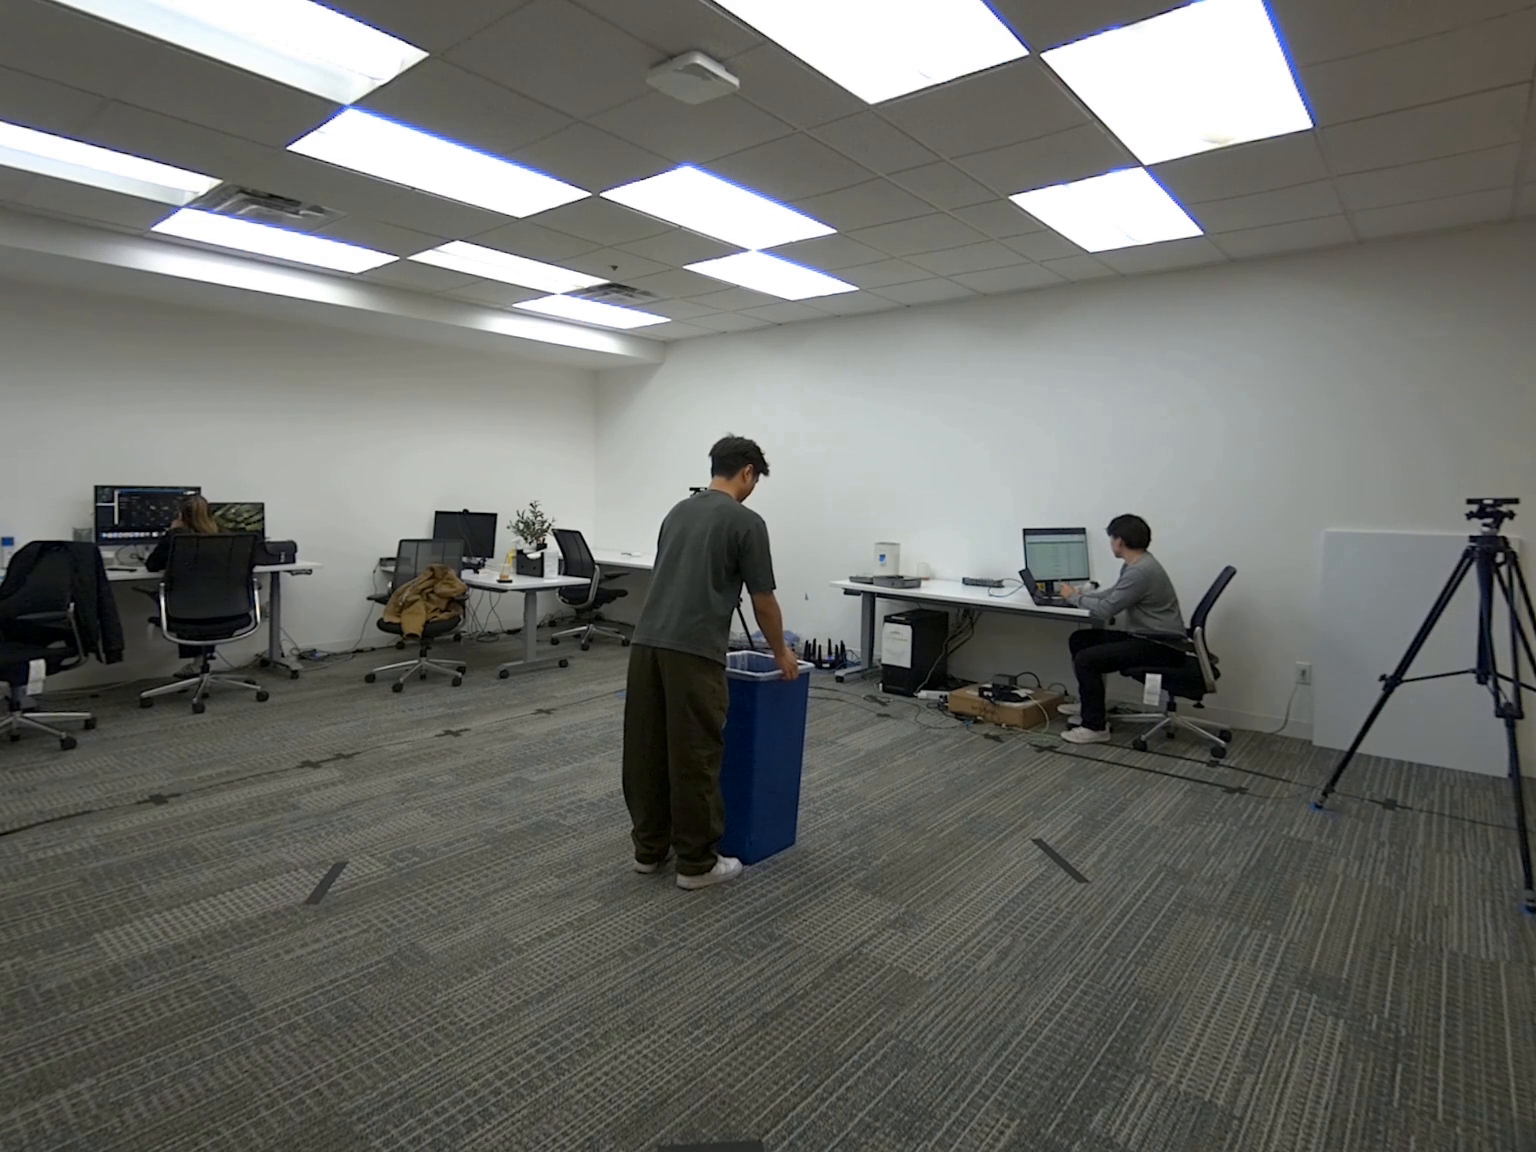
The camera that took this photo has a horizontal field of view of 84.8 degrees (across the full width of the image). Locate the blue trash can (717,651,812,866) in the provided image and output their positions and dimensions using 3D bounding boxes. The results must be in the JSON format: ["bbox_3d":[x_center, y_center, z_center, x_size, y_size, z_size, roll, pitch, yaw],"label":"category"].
[{"bbox_3d":[-0.086,0.687,3.334,0.391,0.712,0.363,5,4,38],"label":"blue trash can"}]
